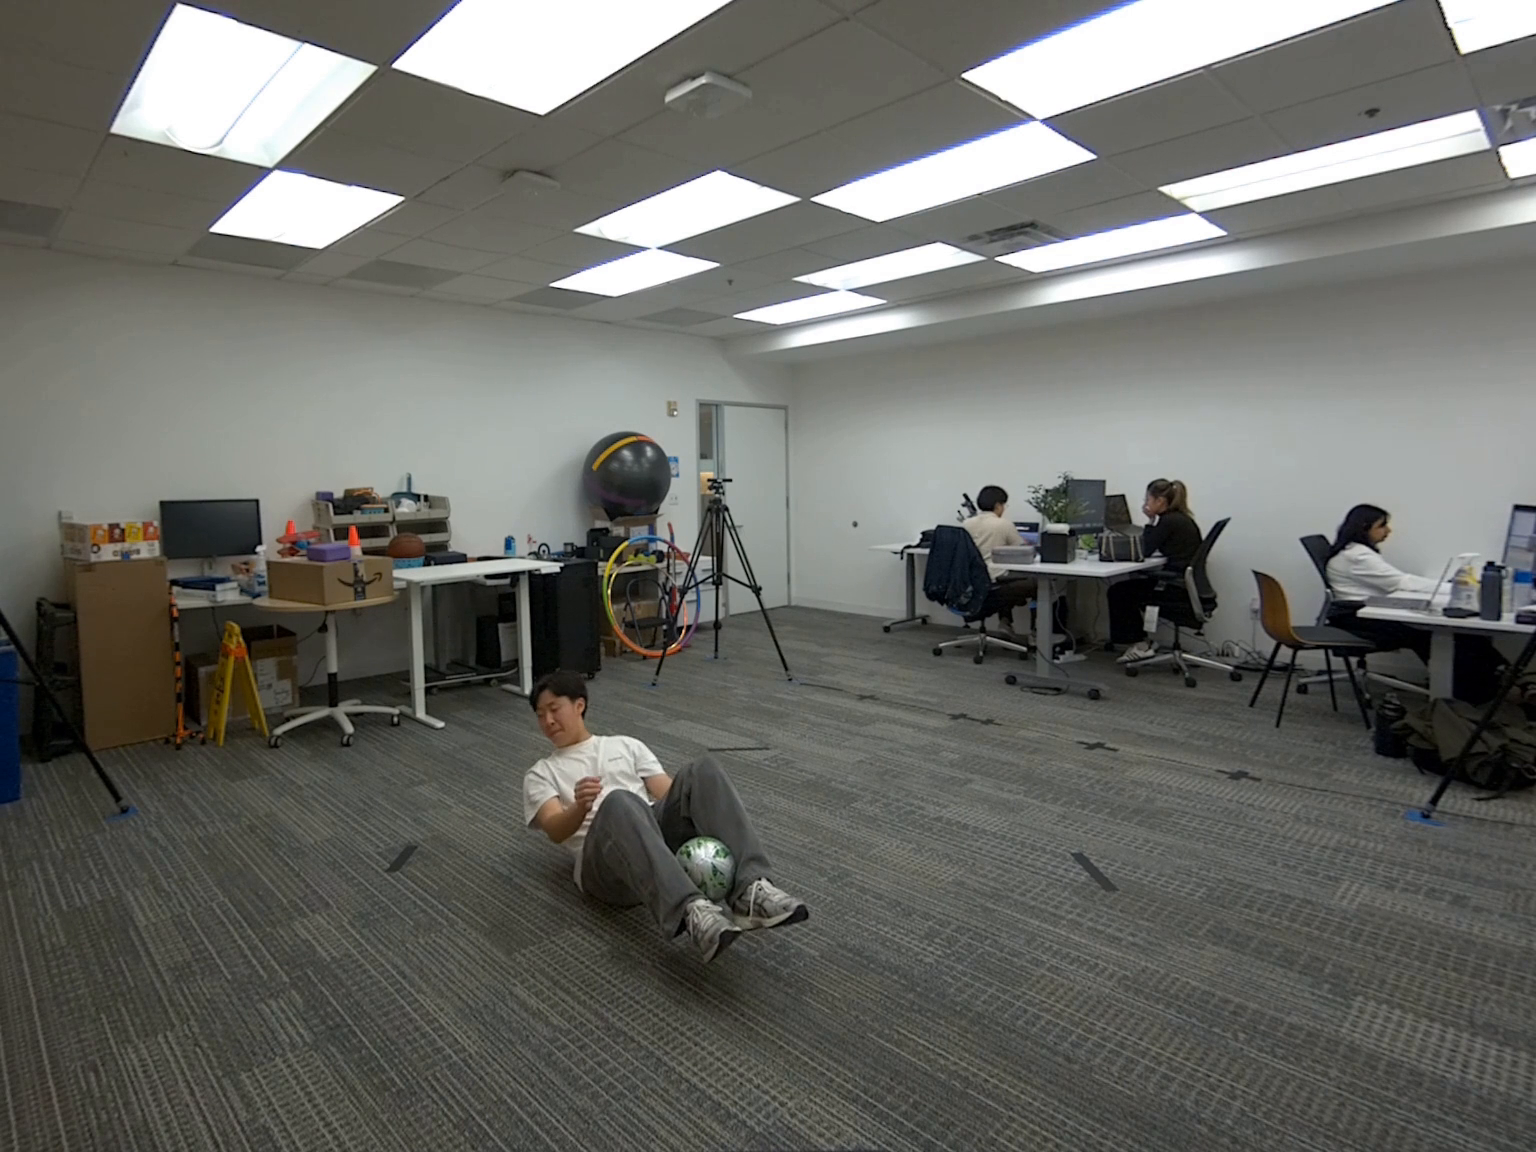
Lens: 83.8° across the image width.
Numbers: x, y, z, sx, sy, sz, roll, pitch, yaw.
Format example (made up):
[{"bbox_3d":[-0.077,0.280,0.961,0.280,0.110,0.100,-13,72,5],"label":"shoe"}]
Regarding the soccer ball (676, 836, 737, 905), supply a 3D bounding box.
[{"bbox_3d":[-0.197,0.852,2.498,0.187,0.187,0.188,-1,5,-2],"label":"soccer ball"}]
